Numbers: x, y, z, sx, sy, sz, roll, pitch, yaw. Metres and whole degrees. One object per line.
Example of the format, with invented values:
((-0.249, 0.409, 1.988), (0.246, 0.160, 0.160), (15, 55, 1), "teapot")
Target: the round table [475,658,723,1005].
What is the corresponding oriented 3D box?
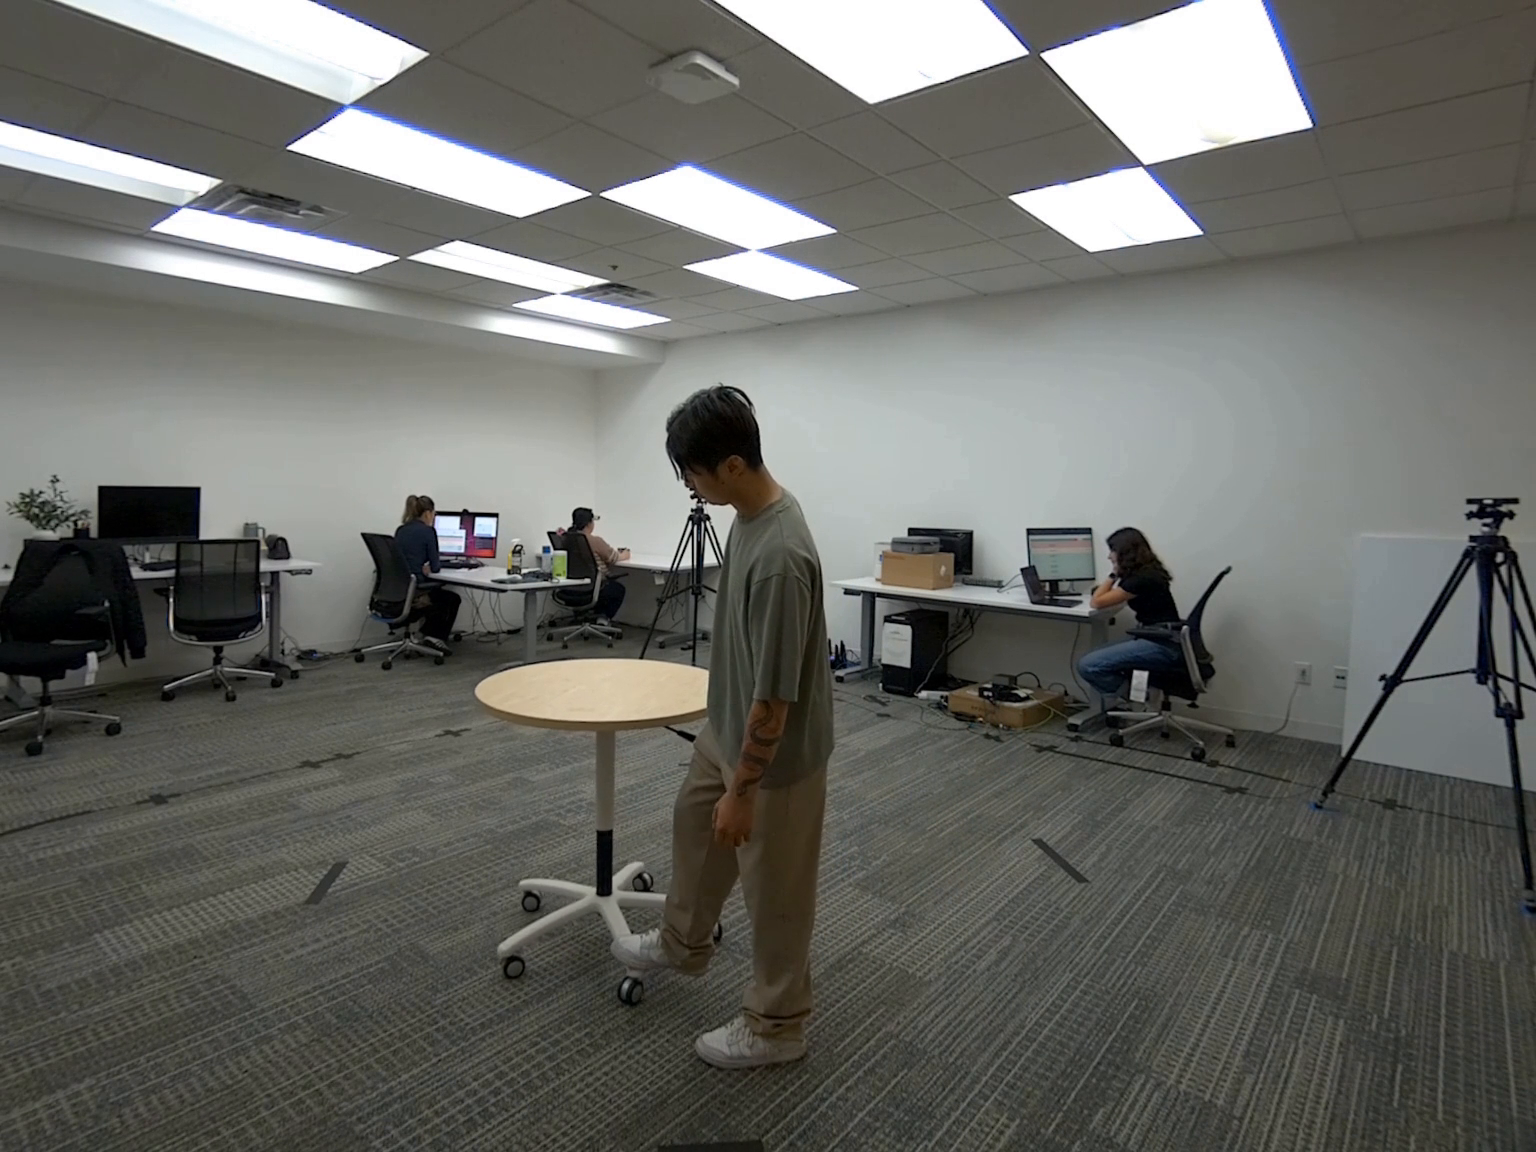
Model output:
((-0.492, 0.718, 2.596), (0.784, 0.784, 0.789), (1, 5, -2), "round table")
